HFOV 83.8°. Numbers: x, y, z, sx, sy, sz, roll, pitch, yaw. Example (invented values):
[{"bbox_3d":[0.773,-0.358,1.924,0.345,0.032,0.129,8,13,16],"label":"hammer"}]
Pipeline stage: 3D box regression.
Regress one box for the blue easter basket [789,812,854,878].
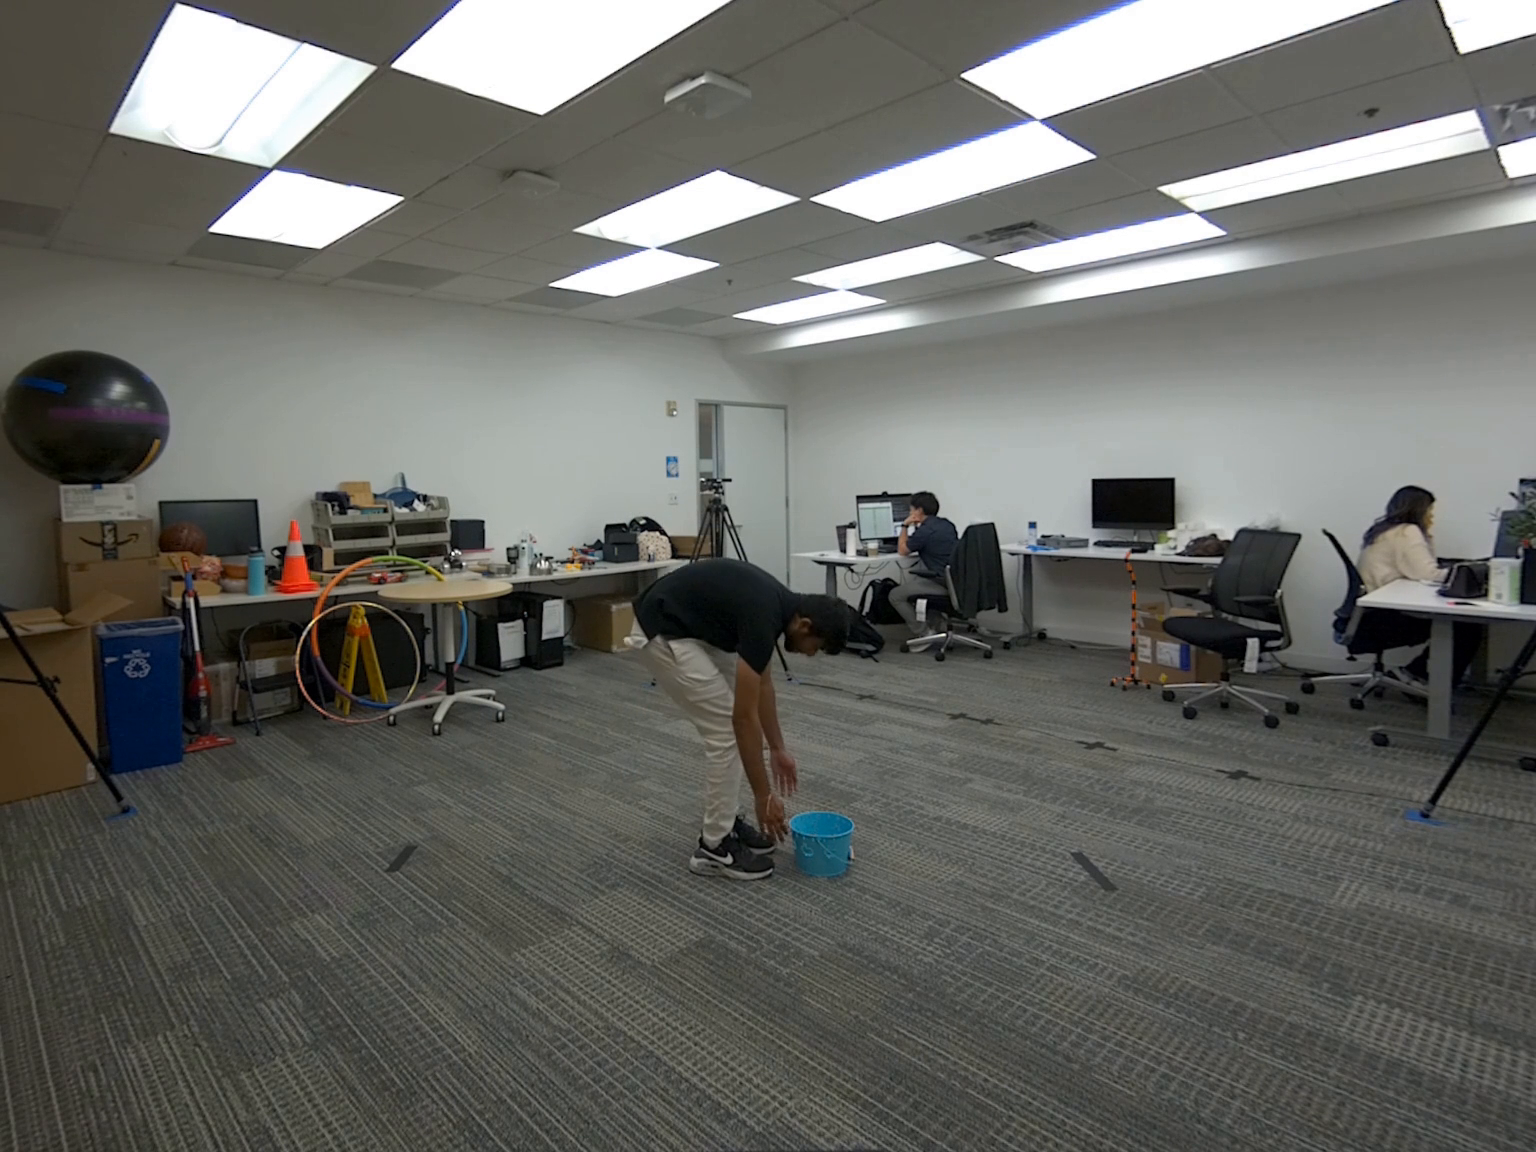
[{"bbox_3d":[0.196,0.964,3.072,0.243,0.155,0.245,-1,6,-2],"label":"blue easter basket"}]
